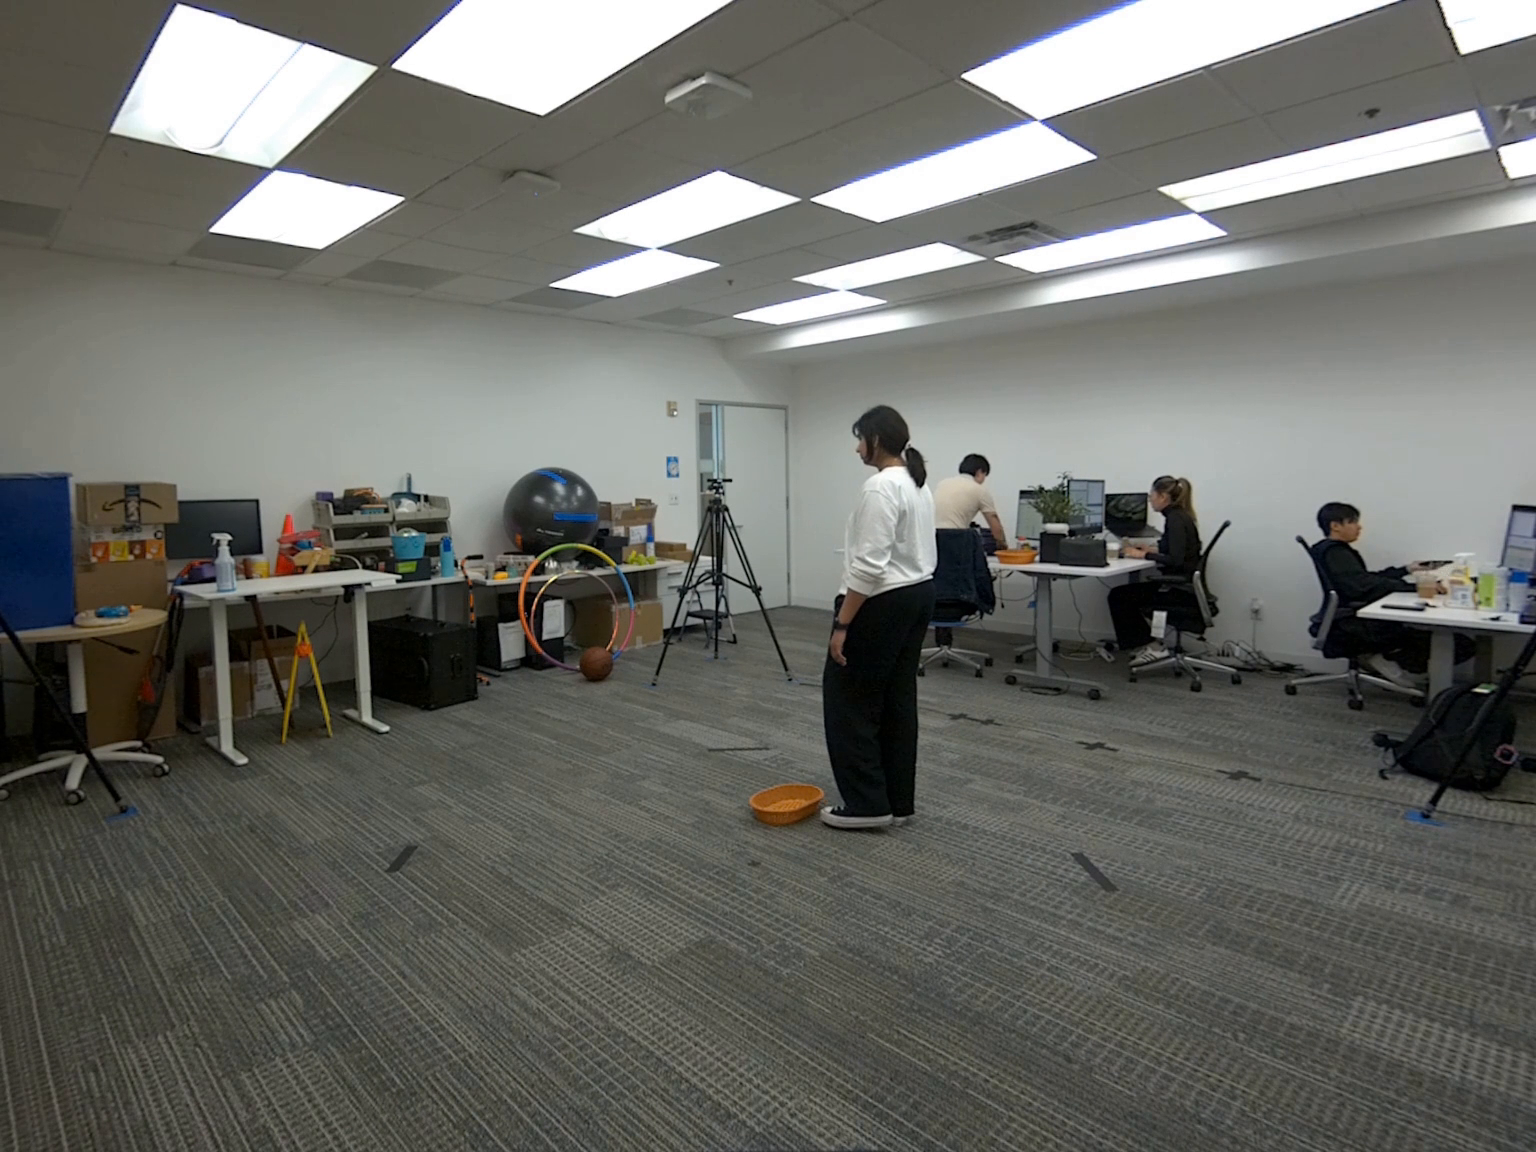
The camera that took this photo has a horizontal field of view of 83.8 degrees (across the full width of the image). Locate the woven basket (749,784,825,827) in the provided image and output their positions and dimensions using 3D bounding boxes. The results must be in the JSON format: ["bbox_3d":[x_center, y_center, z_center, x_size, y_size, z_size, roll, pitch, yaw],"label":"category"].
[{"bbox_3d":[0.079,0.949,3.571,0.341,0.073,0.260,-8,8,-42],"label":"woven basket"}]
